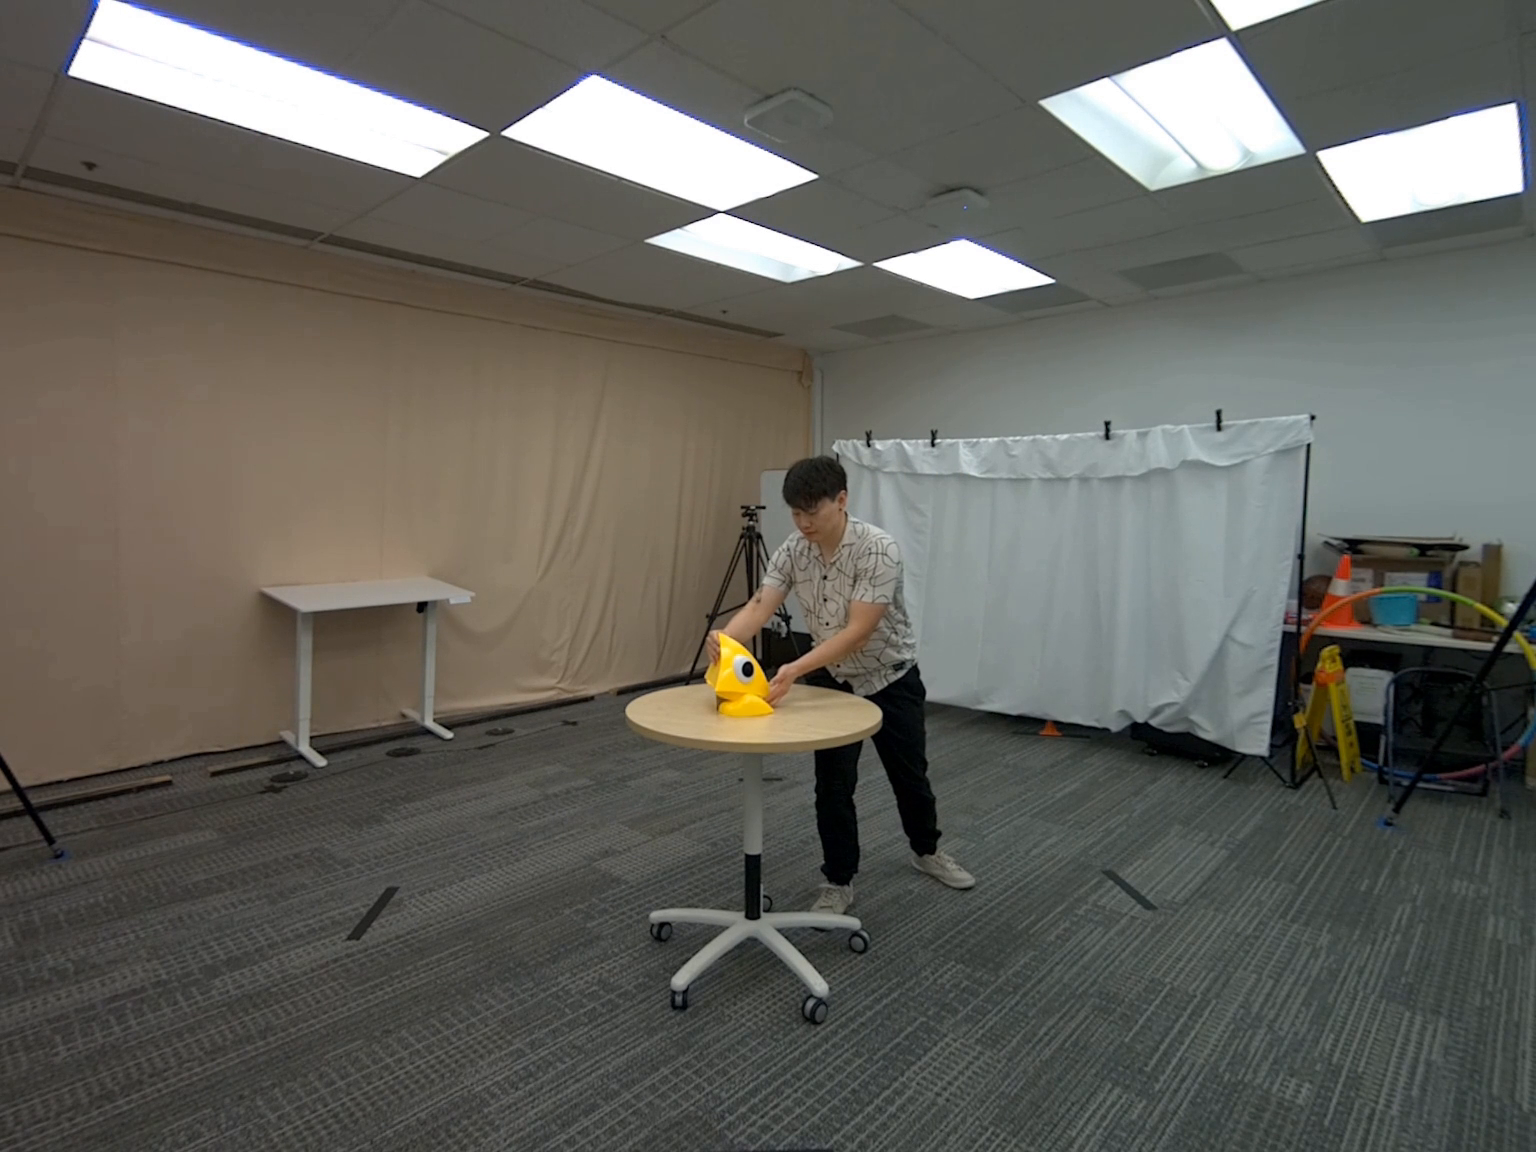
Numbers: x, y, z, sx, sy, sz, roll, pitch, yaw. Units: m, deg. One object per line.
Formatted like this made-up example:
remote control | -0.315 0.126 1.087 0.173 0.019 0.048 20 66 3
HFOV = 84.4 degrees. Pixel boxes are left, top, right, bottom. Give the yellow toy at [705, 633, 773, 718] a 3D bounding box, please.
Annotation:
yellow toy | -0.081 0.287 2.517 0.191 0.230 0.207 -2 3 -11
